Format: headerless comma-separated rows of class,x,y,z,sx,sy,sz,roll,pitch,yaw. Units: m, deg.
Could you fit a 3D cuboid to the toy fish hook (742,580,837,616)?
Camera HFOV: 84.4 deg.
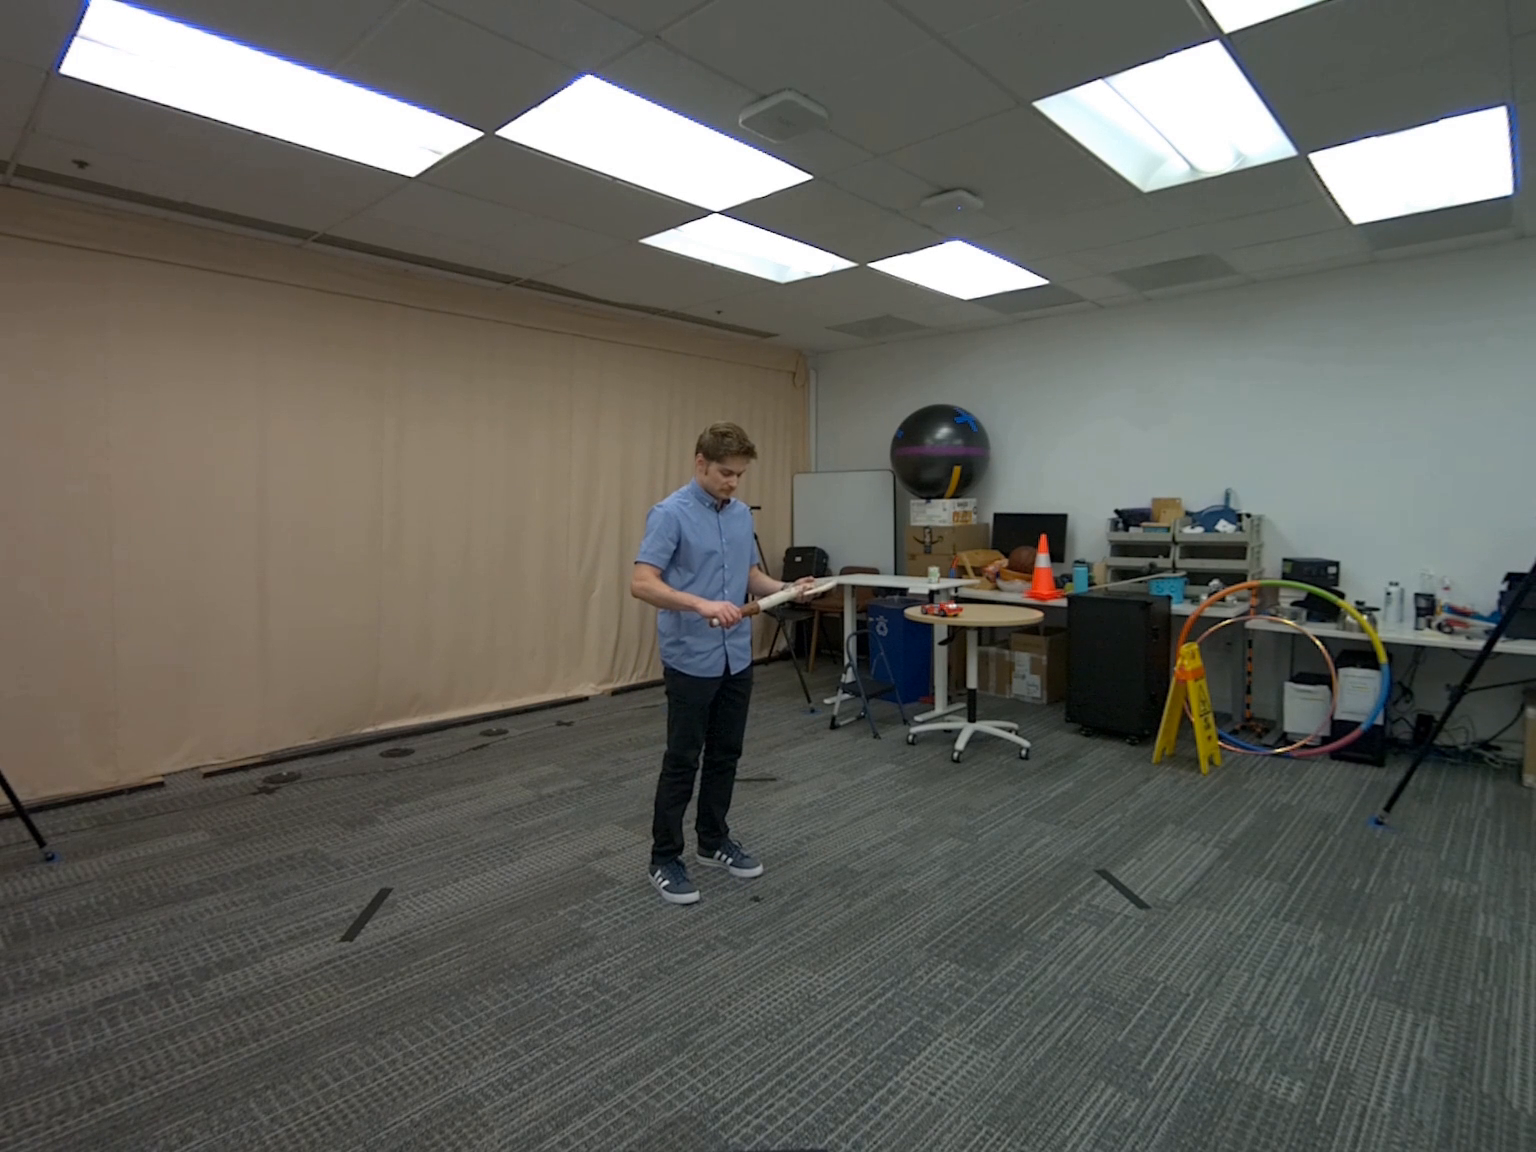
toy fish hook,0.035,0.078,2.876,0.494,0.048,0.230,-19,2,-40
